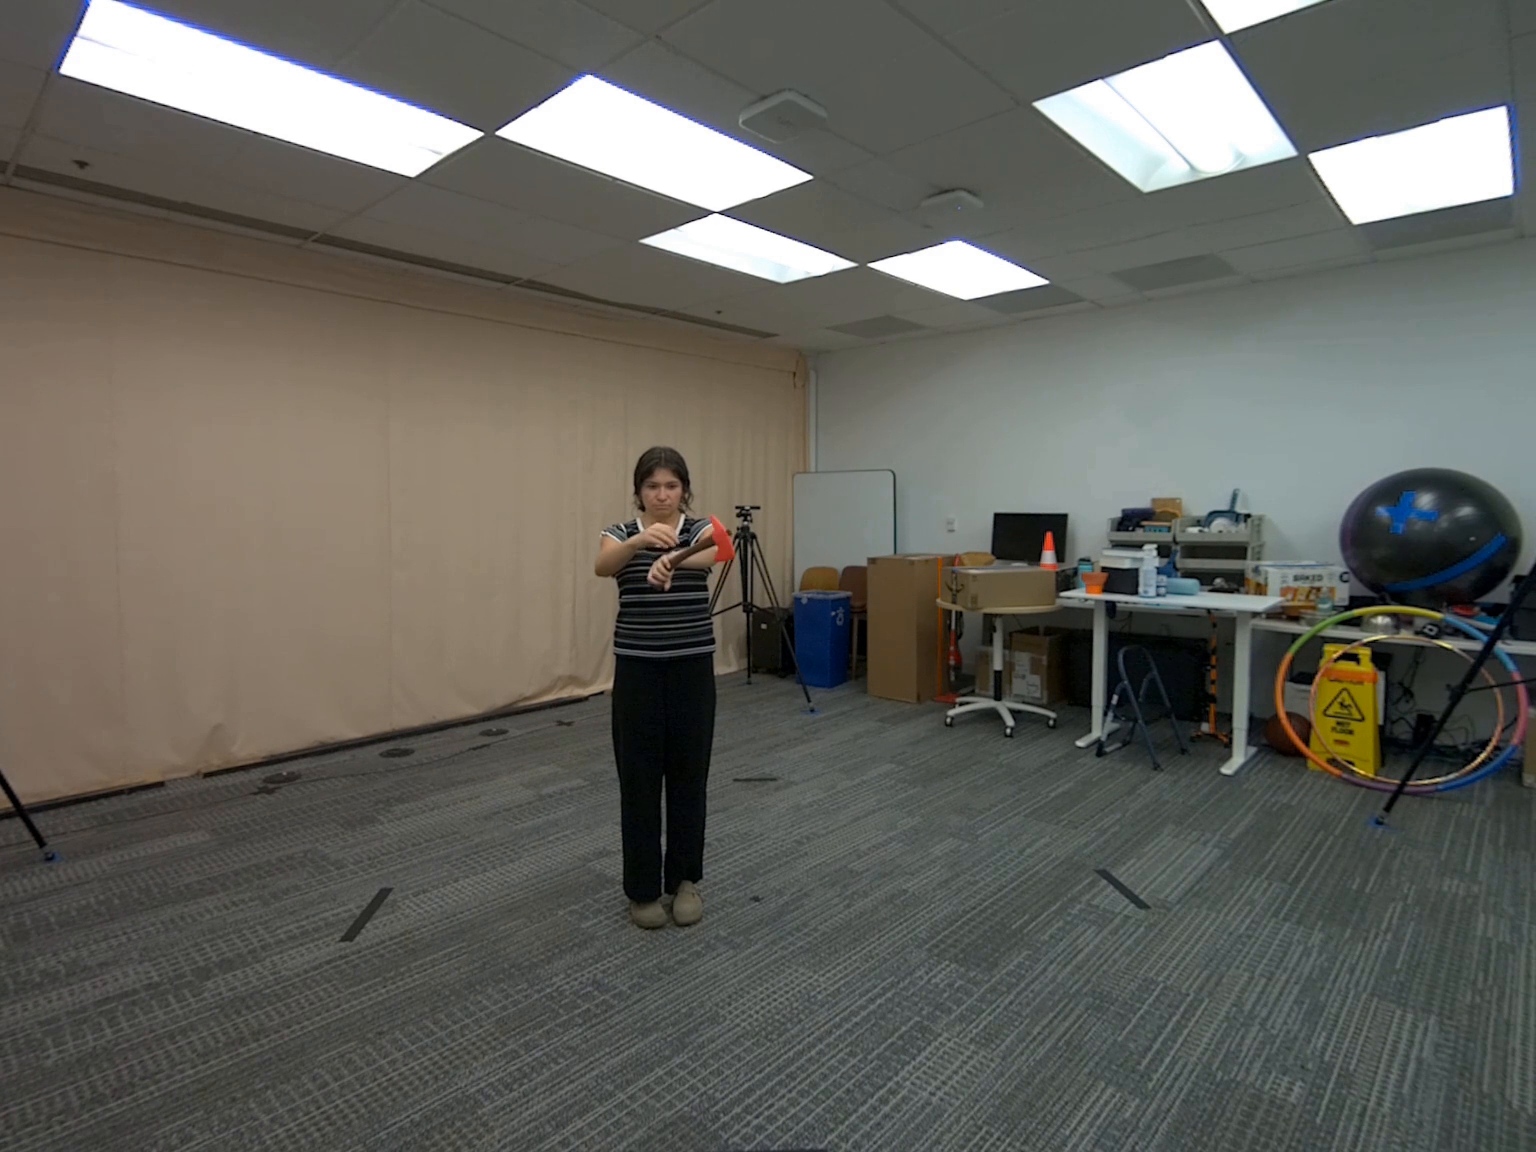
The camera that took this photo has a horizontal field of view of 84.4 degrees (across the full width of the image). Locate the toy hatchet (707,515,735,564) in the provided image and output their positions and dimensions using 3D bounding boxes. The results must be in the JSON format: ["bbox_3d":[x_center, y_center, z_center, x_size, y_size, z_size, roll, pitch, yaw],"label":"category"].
[{"bbox_3d":[-0.191,-0.036,2.312,0.271,0.131,0.029,-45,1,14],"label":"toy hatchet"}]
